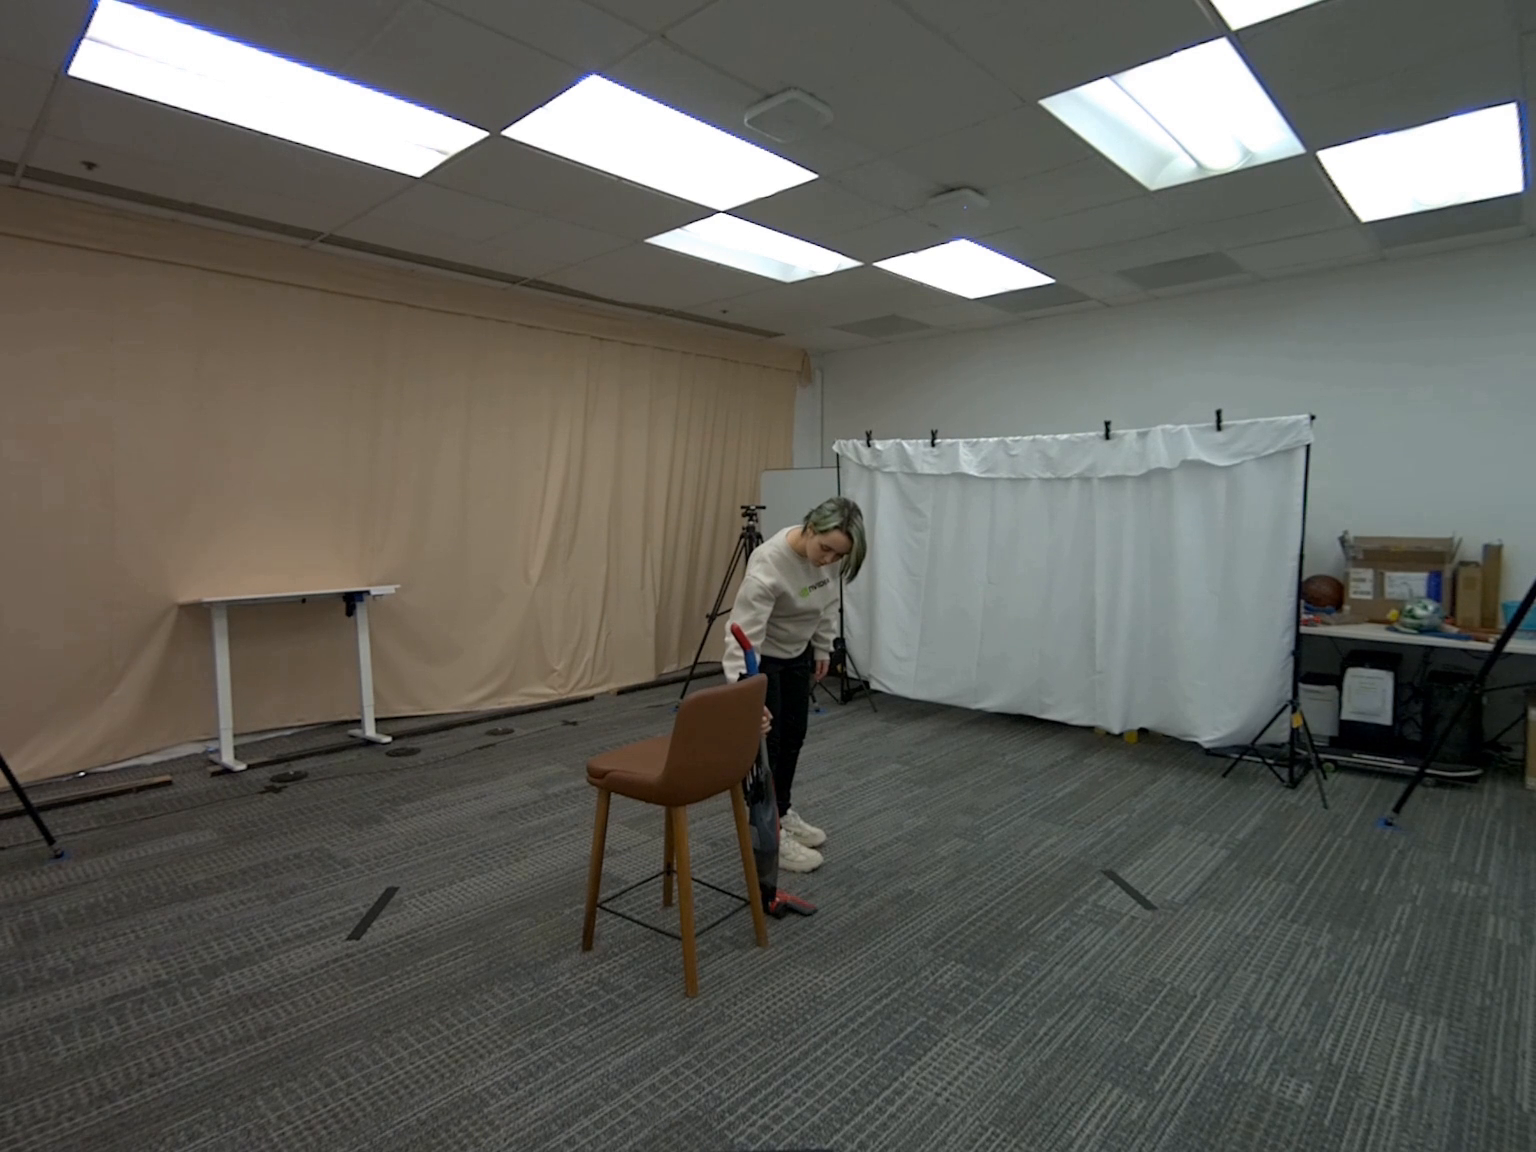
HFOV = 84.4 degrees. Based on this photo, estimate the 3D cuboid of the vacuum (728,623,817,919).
[{"bbox_3d":[-0.039,0.655,2.785,0.261,1.036,0.141,9,23,44],"label":"vacuum"}]
